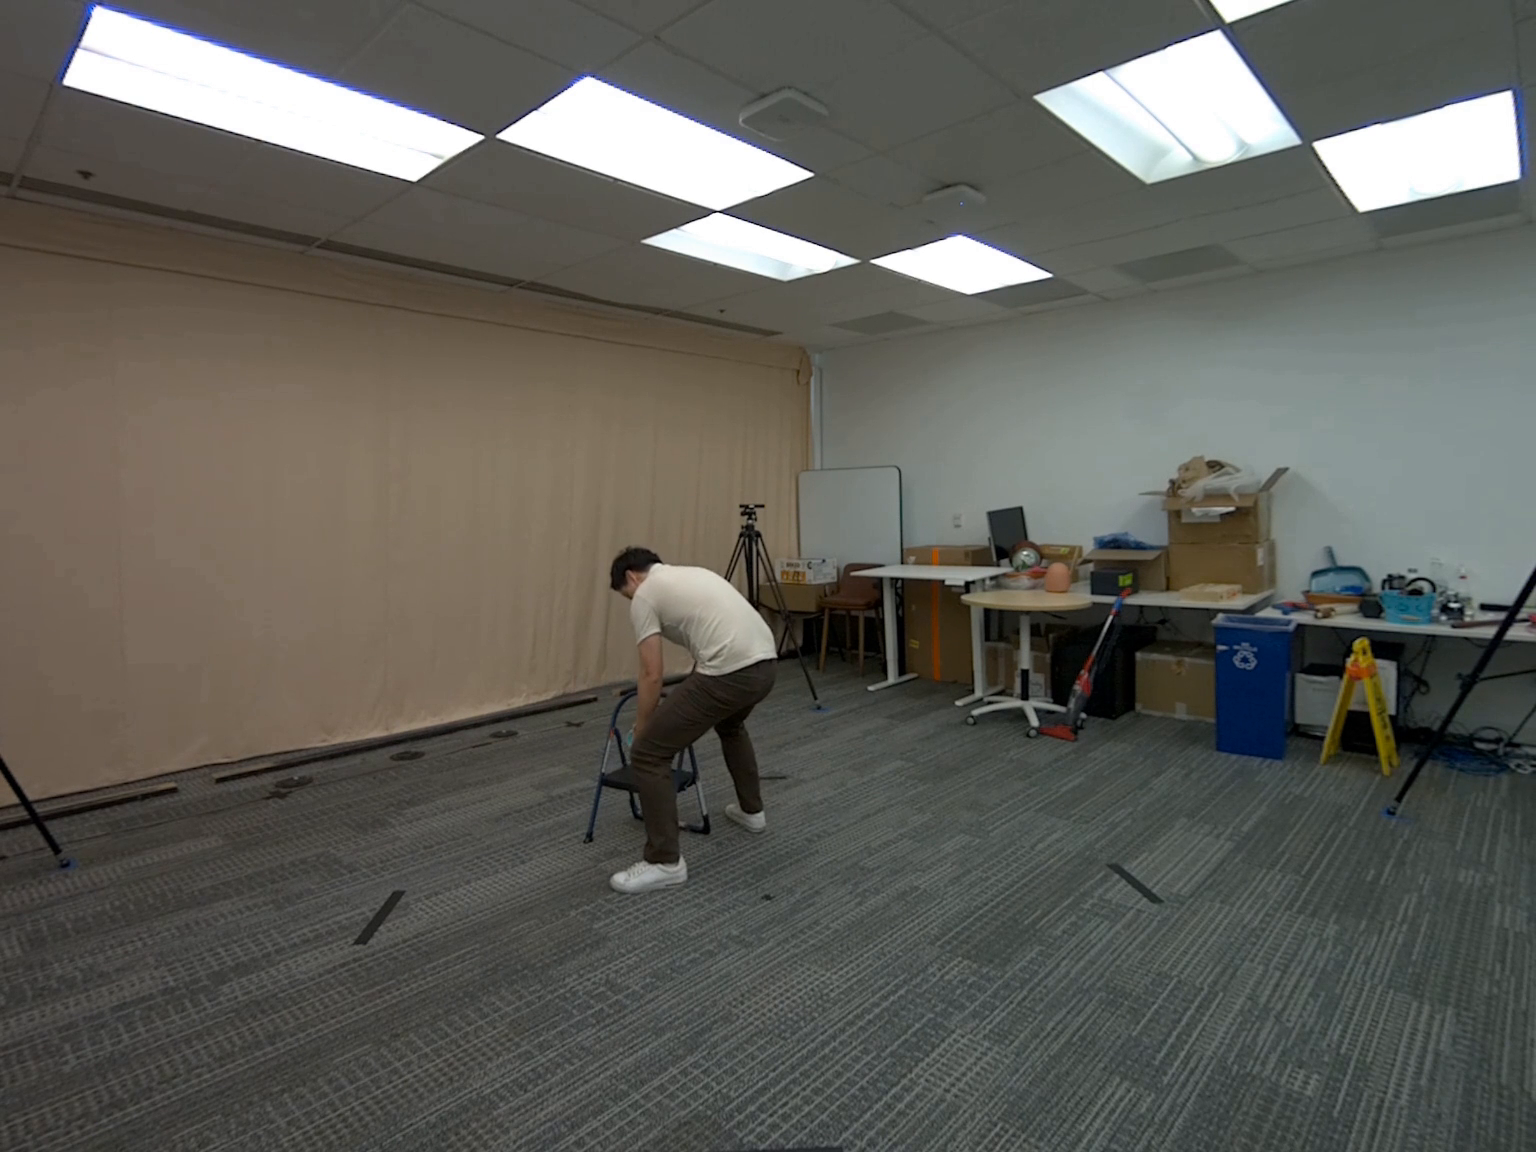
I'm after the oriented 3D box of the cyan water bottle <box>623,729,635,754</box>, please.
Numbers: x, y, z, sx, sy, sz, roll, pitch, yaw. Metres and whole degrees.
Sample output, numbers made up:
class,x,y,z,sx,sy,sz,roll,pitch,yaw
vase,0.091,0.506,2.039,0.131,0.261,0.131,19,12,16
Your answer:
class,x,y,z,sx,sy,sz,roll,pitch,yaw
cyan water bottle,-0.481,0.646,3.524,0.095,0.092,0.277,1,7,24
